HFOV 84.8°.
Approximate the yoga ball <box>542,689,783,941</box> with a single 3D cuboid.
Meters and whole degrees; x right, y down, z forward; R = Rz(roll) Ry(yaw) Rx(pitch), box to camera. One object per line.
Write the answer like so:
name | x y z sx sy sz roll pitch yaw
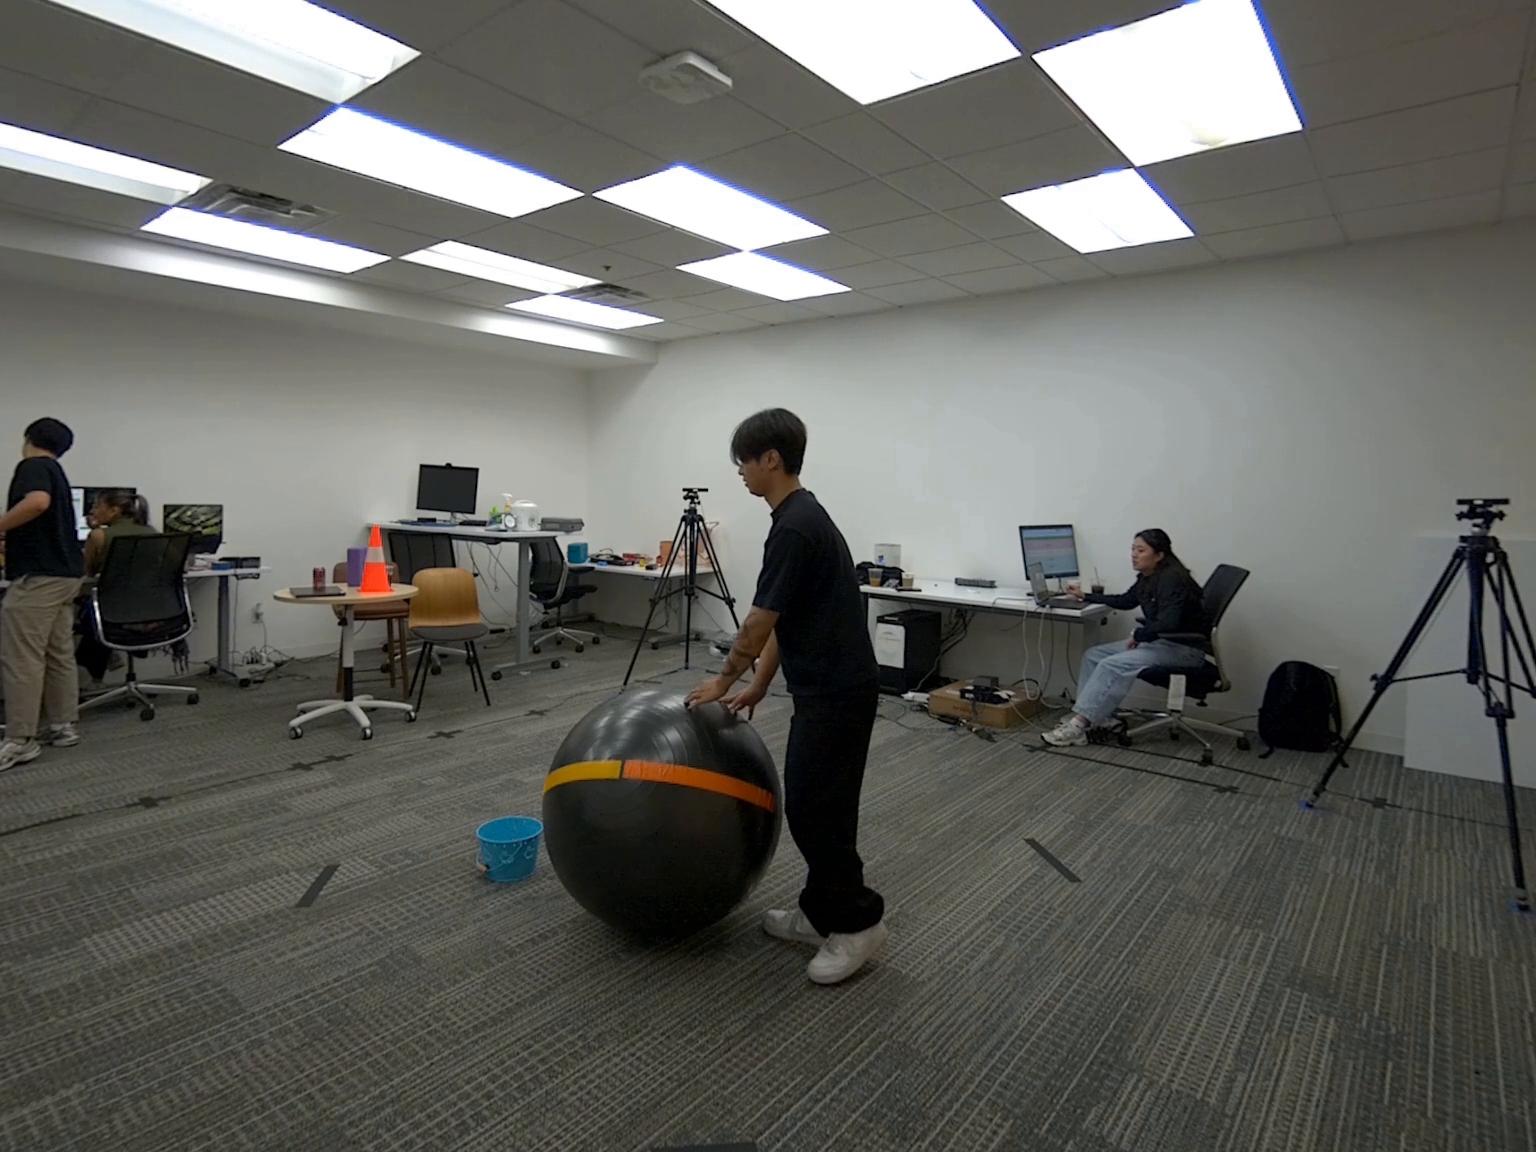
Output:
yoga ball | -0.346 0.738 2.718 0.757 0.755 0.762 1 4 -2
